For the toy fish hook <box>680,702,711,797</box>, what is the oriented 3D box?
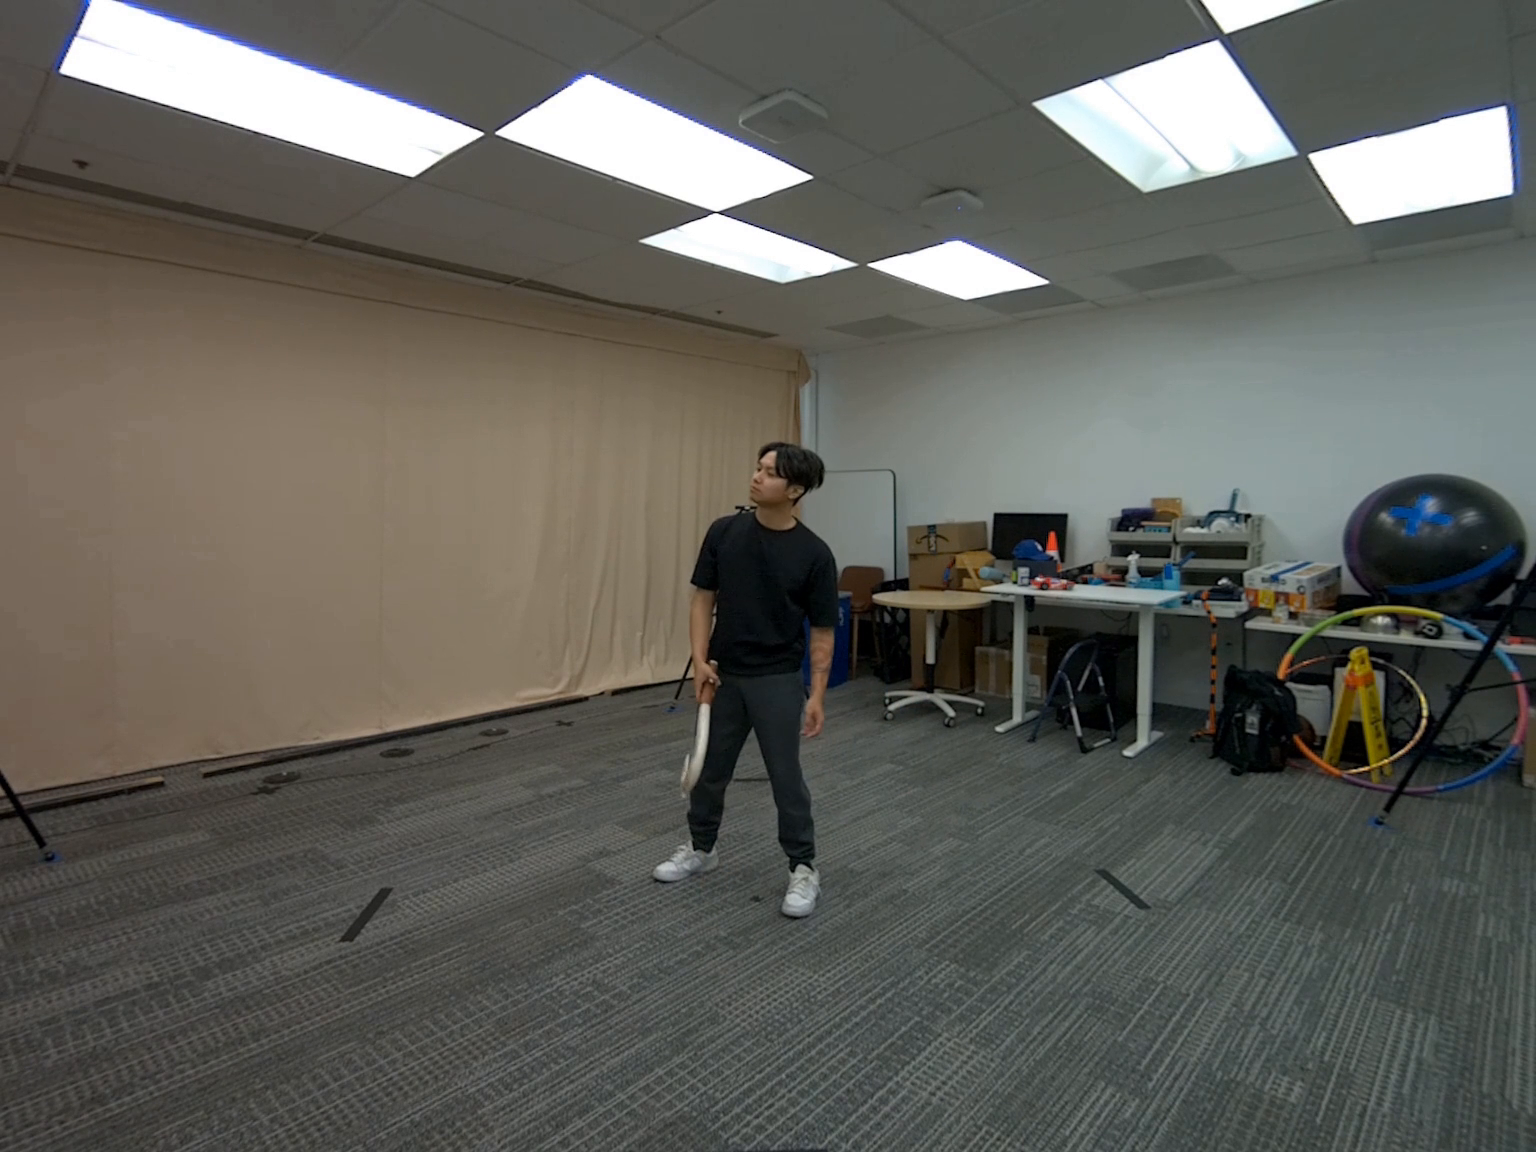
[{"bbox_3d":[-0.238,0.504,2.843,0.048,0.224,0.511,21,40,-7],"label":"toy fish hook"}]
